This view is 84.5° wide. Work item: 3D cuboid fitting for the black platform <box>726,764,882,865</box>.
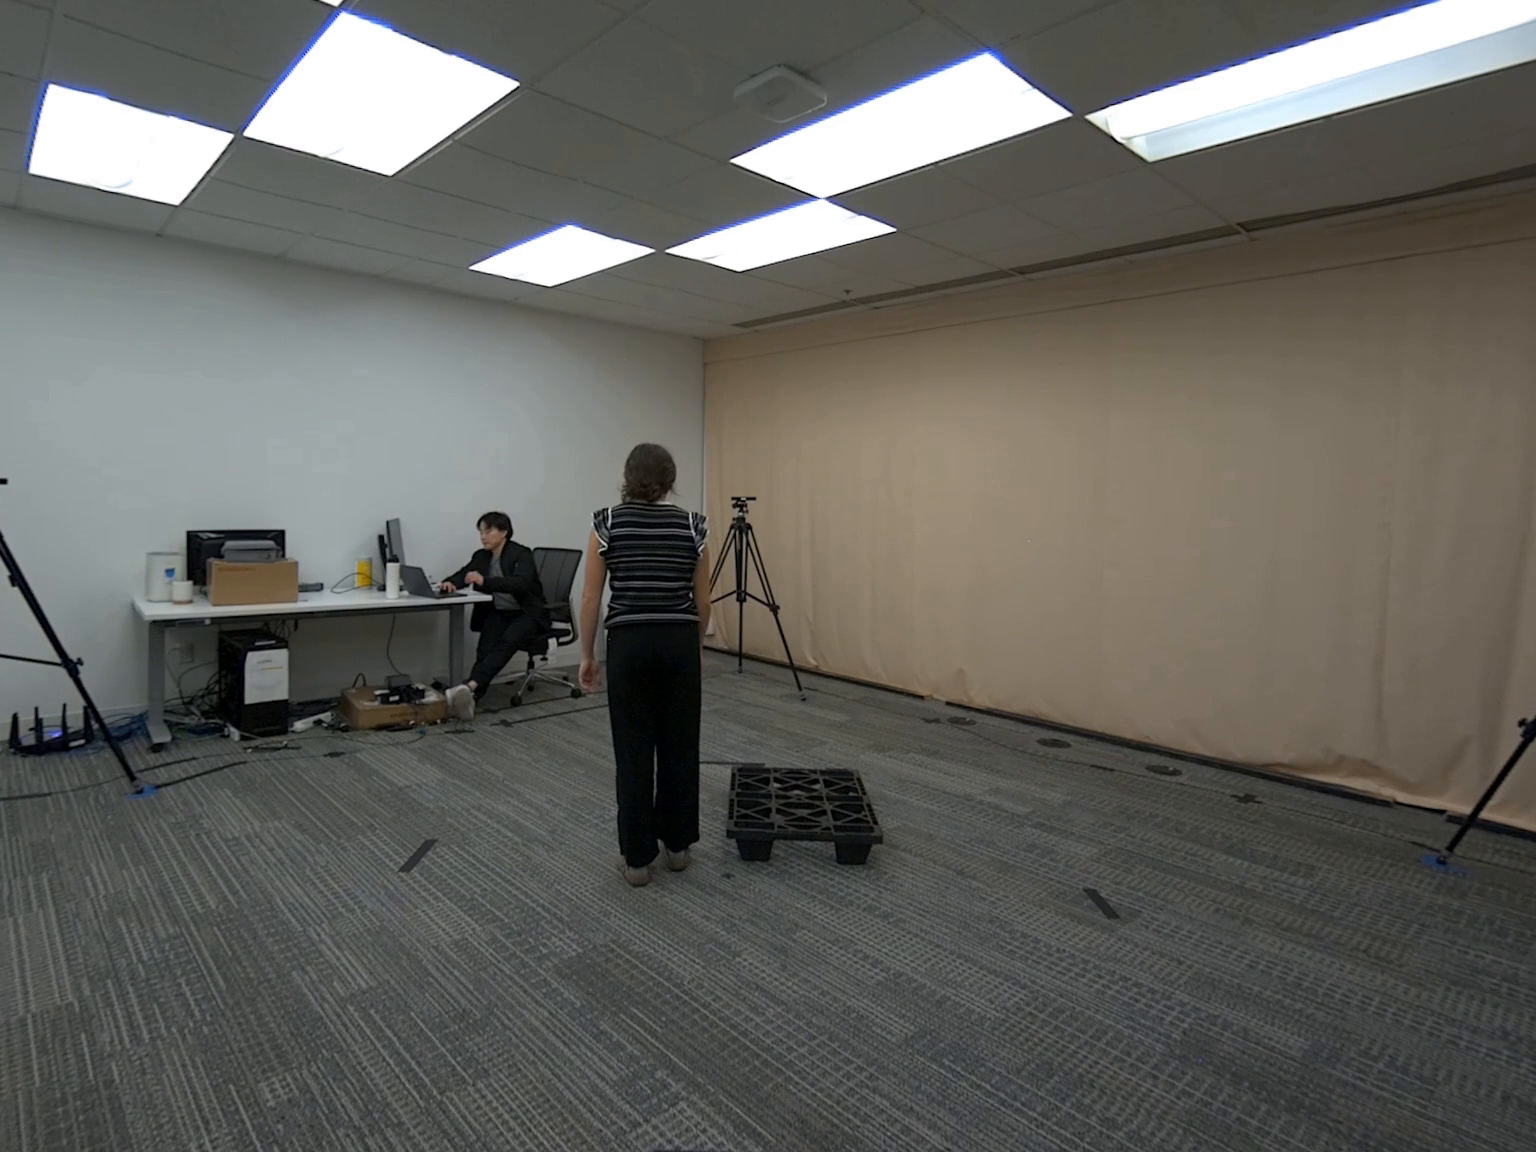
[{"bbox_3d":[0.124,1.005,3.590,0.605,0.143,0.807,2,5,0],"label":"black platform"}]
